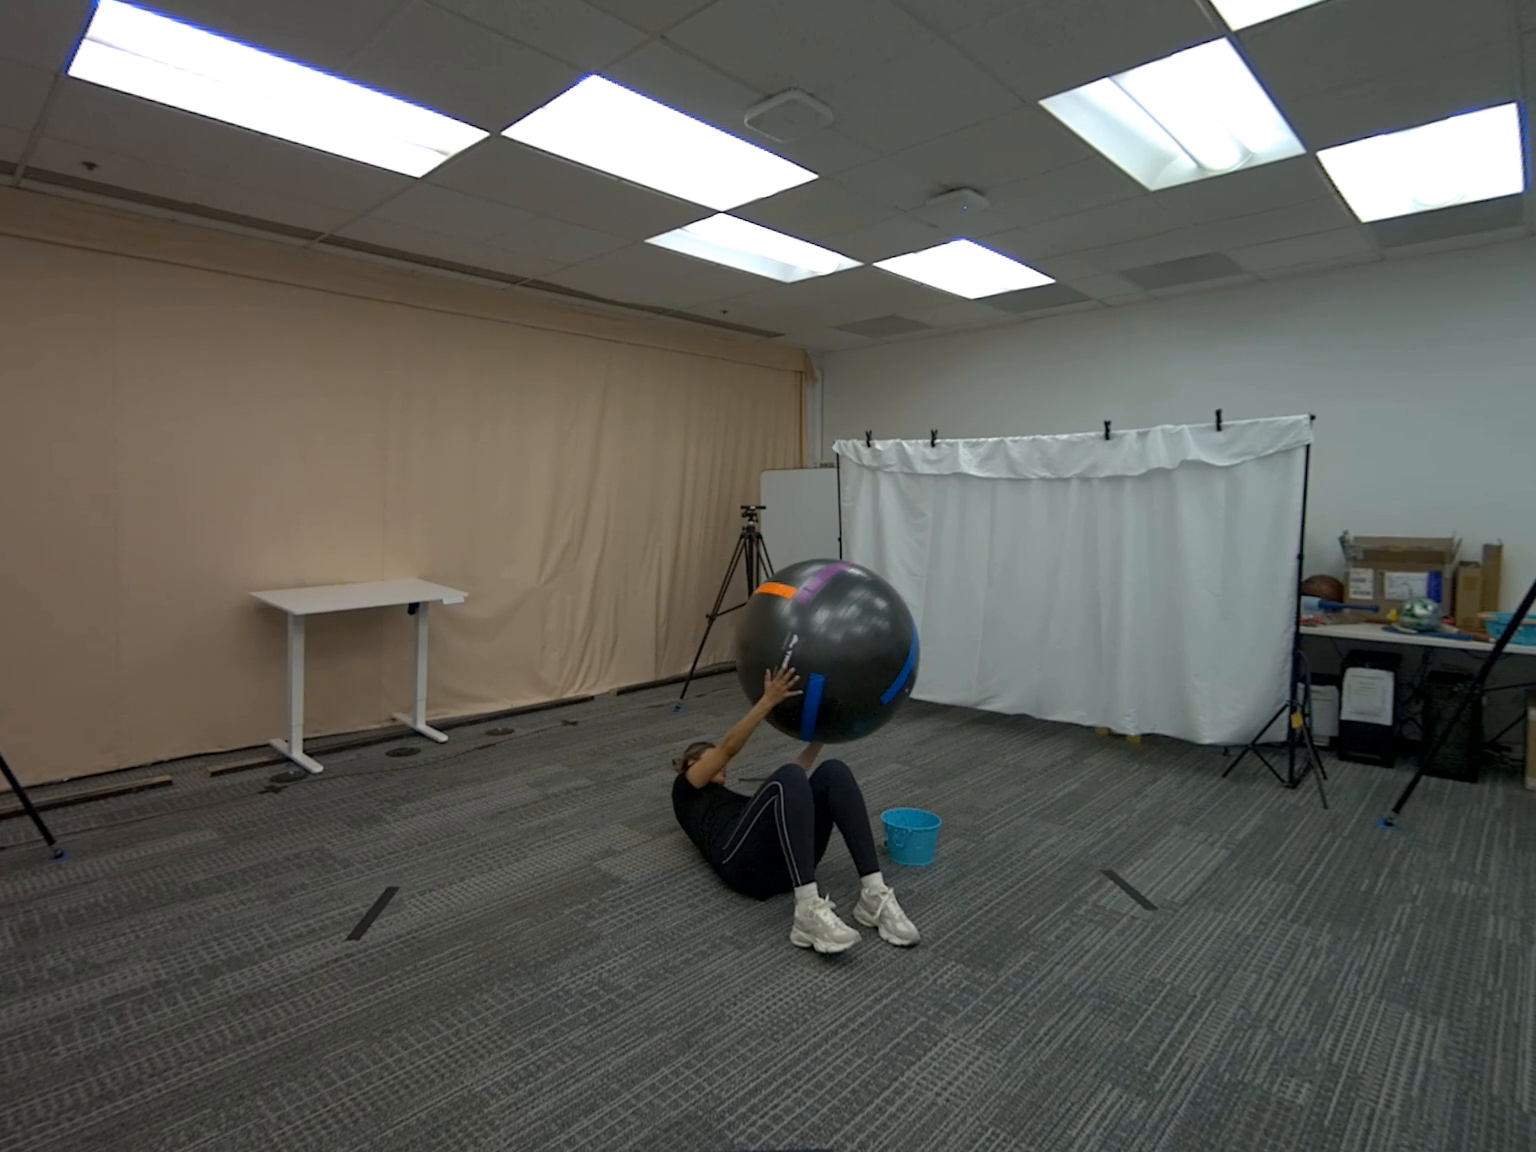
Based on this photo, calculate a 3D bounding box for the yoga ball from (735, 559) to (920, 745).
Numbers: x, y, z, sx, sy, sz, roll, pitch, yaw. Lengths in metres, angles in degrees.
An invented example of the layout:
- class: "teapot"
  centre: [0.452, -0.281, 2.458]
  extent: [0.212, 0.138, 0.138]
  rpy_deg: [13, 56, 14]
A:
- class: "yoga ball"
  centre: [0.239, 0.312, 3.465]
  extent: [0.757, 0.756, 0.761]
  rpy_deg: [3, 5, -2]
